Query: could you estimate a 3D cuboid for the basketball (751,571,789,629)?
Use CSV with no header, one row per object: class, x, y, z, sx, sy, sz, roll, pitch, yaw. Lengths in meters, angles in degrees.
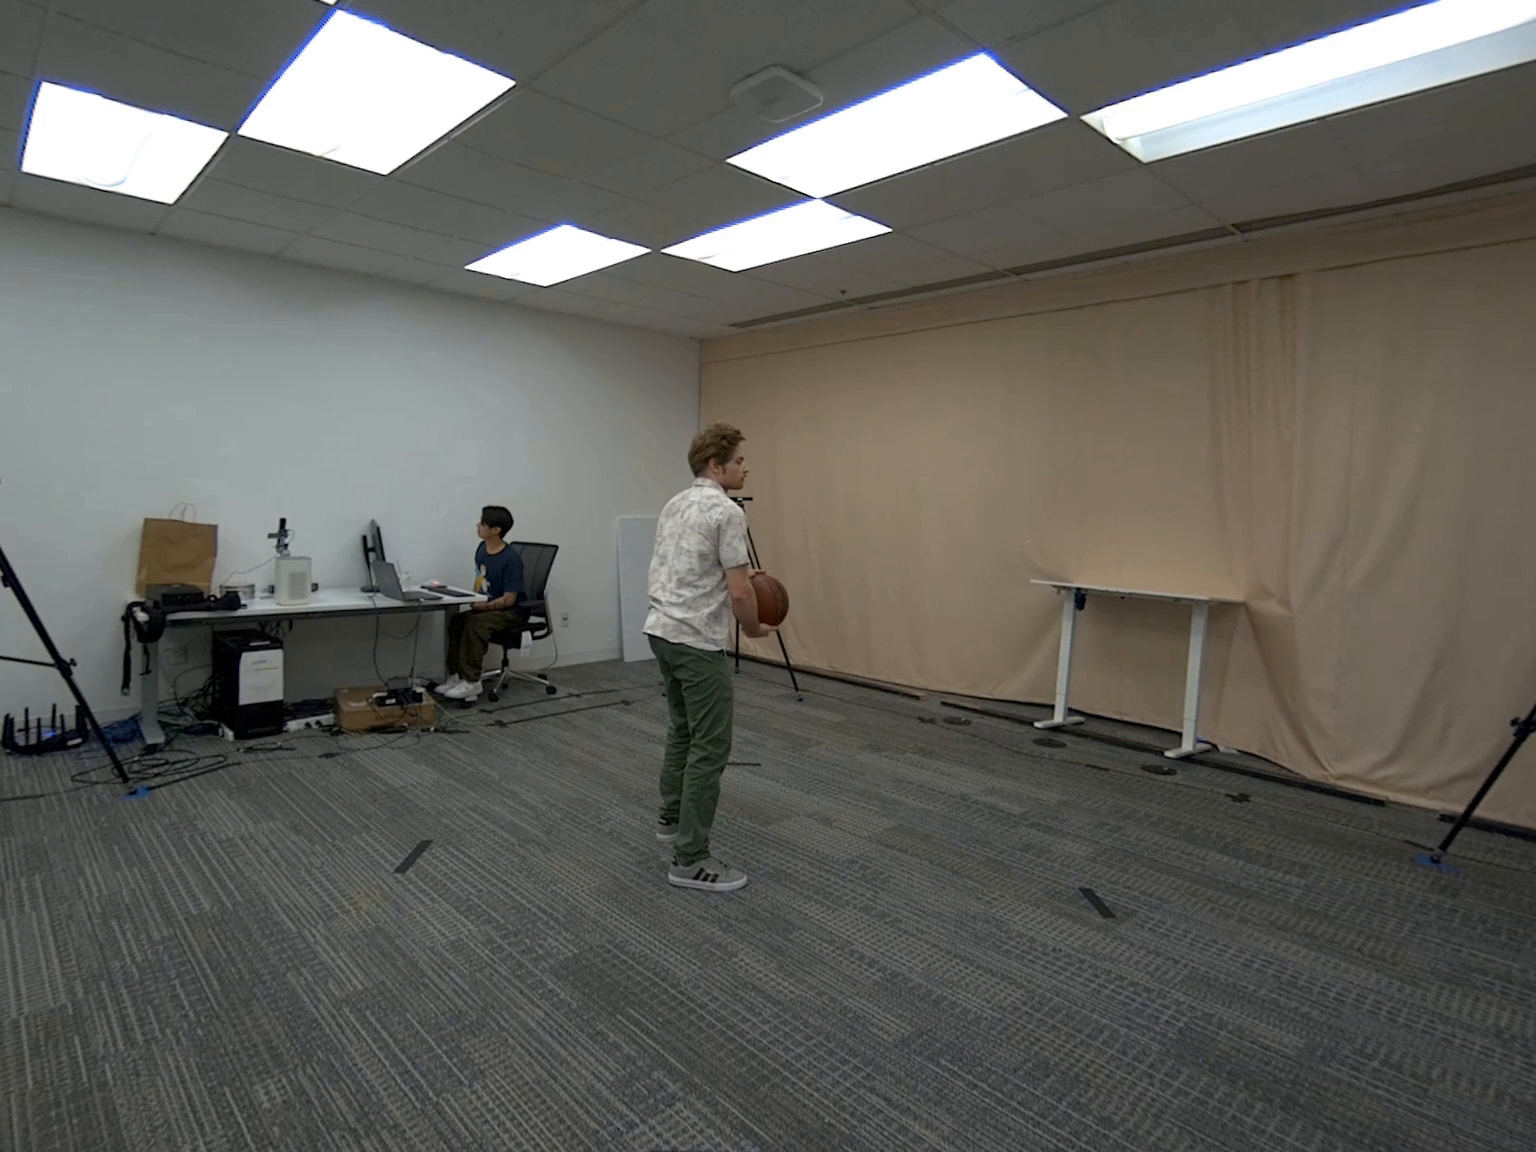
basketball,-0.041,0.111,3.489,0.236,0.235,0.237,1,4,-1
